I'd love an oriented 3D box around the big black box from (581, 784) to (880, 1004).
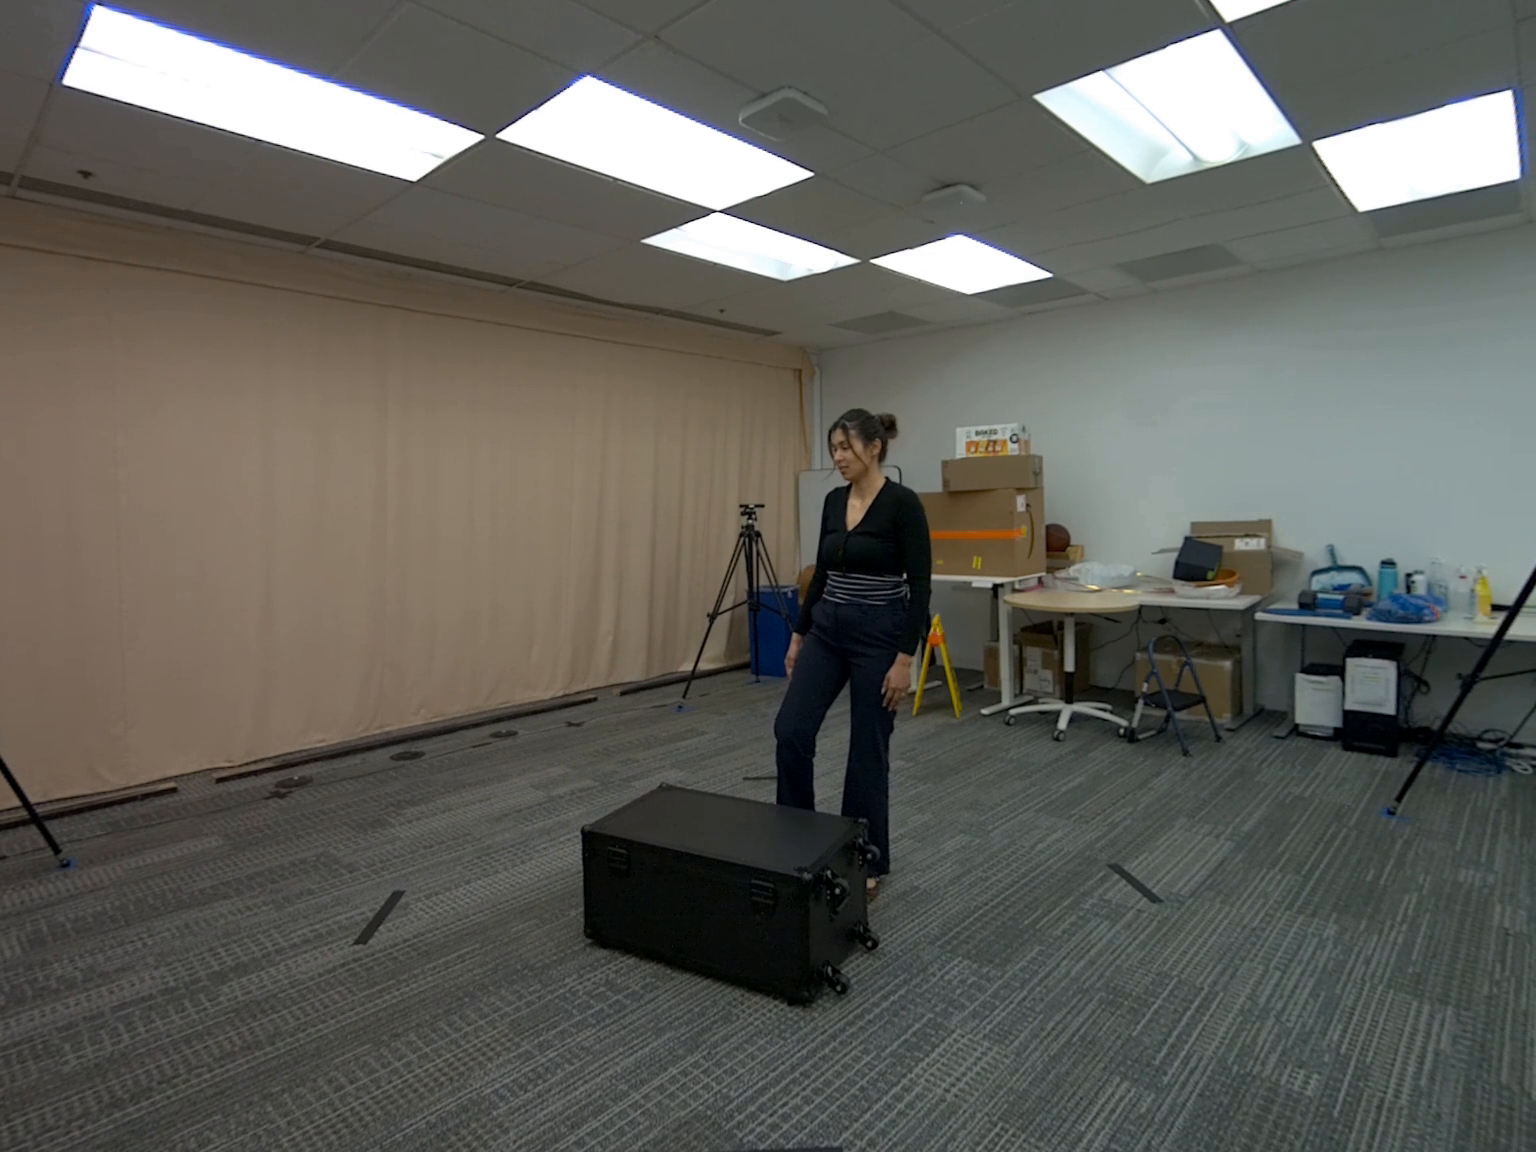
[{"bbox_3d":[-0.105,0.976,2.675,0.885,0.395,0.508,1,4,28],"label":"big black box"}]
